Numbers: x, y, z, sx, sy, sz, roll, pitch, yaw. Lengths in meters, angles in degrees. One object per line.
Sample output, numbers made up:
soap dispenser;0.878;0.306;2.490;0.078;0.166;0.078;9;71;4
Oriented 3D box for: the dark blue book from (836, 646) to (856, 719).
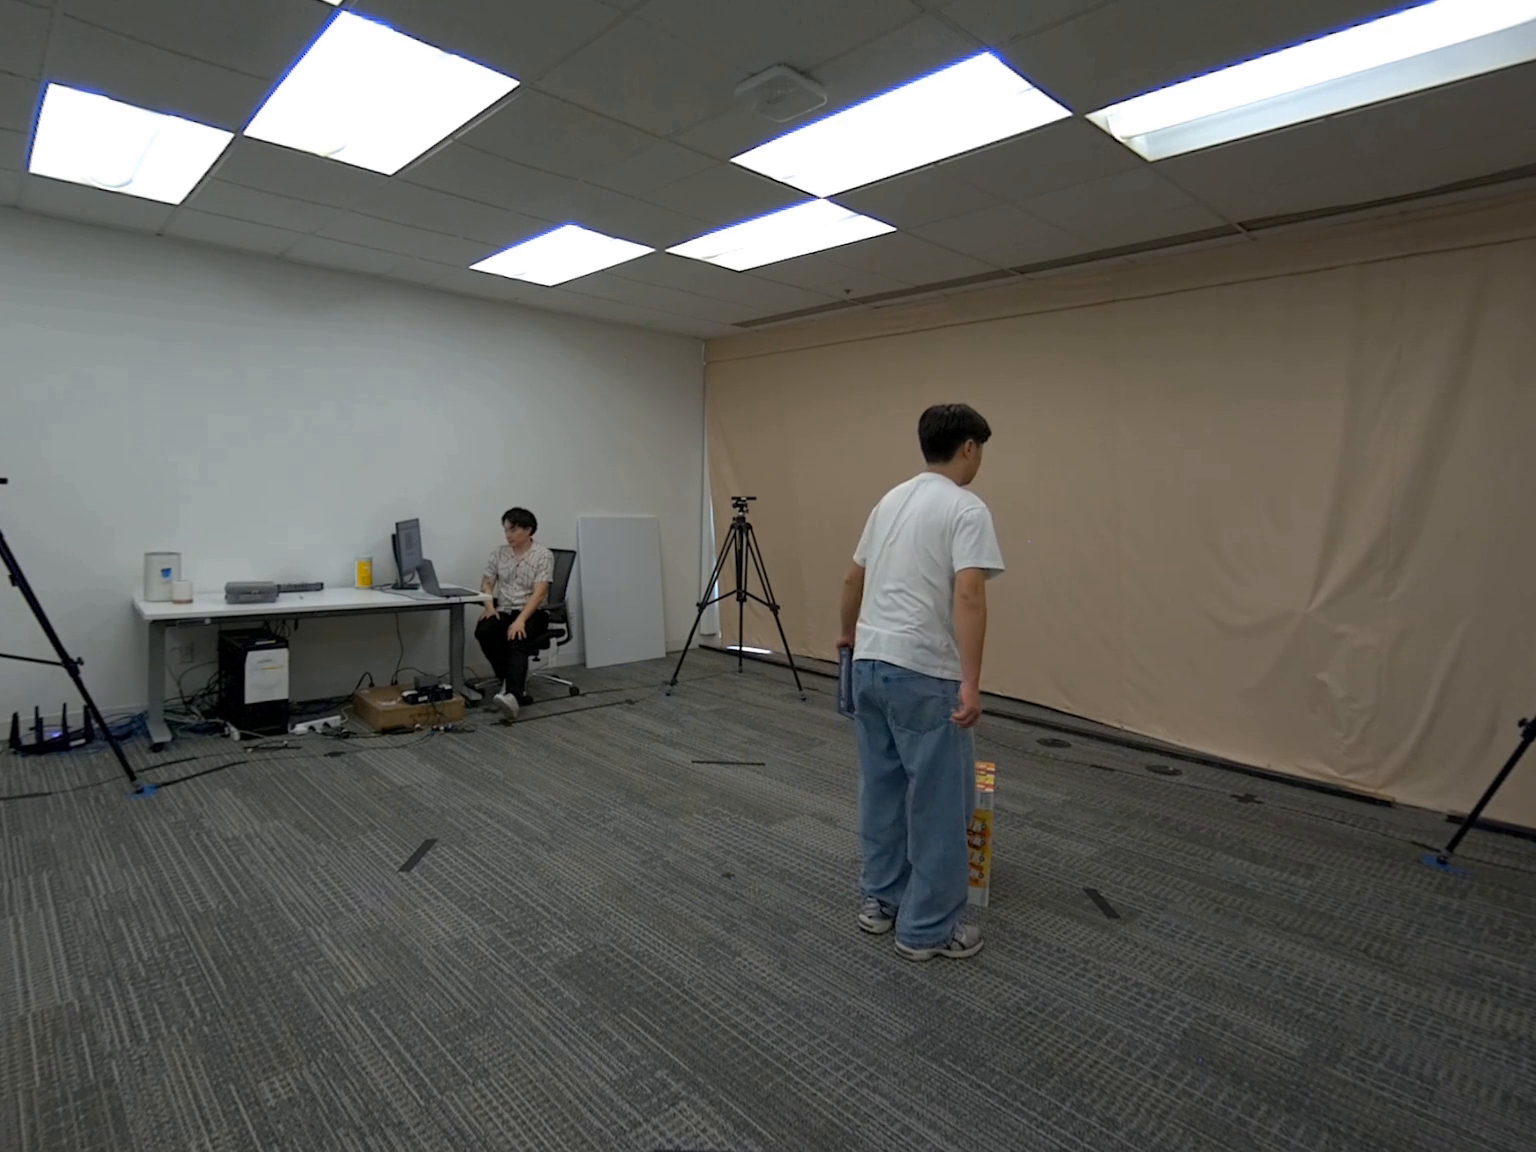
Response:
dark blue book;0.330;0.410;3.115;0.046;0.249;0.158;-13;-27;32
